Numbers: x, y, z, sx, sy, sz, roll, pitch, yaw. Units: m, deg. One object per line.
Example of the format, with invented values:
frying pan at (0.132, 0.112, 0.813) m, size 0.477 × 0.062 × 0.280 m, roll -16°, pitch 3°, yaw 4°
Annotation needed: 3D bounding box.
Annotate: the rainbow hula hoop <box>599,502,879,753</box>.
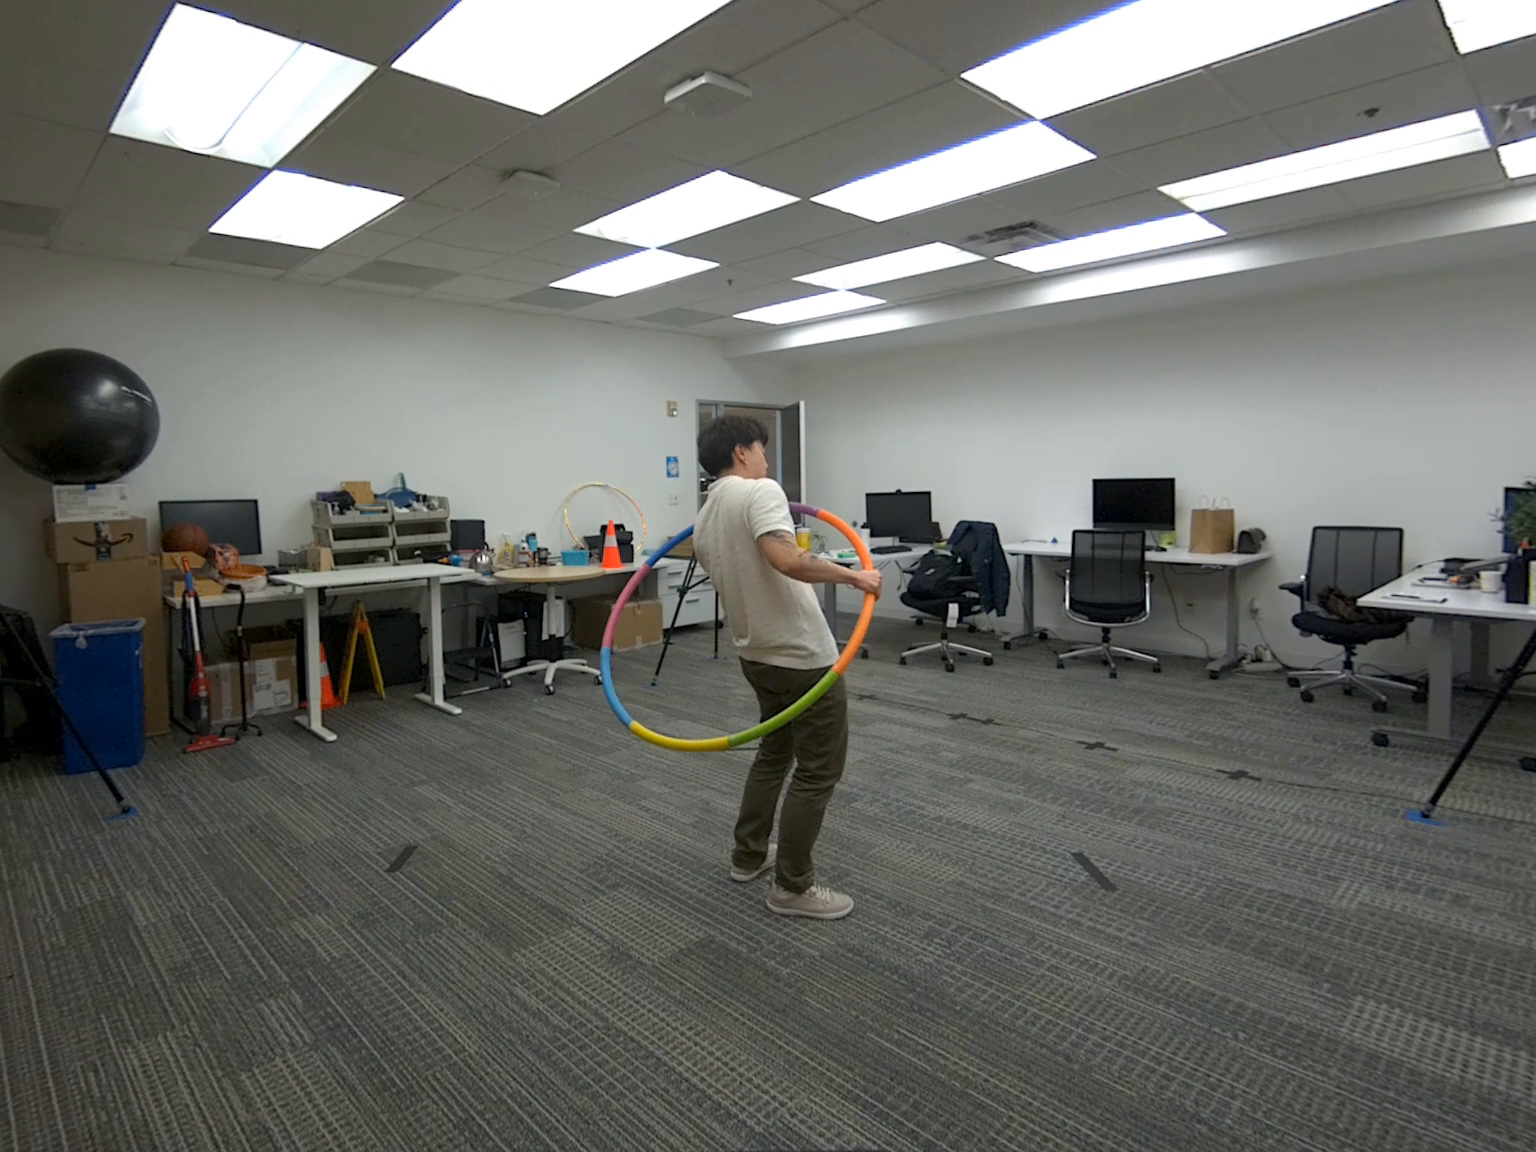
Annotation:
rainbow hula hoop at (-0.119, 0.120, 2.825) m, size 1.006 × 0.989 × 0.034 m, roll 2°, pitch -38°, yaw 33°
